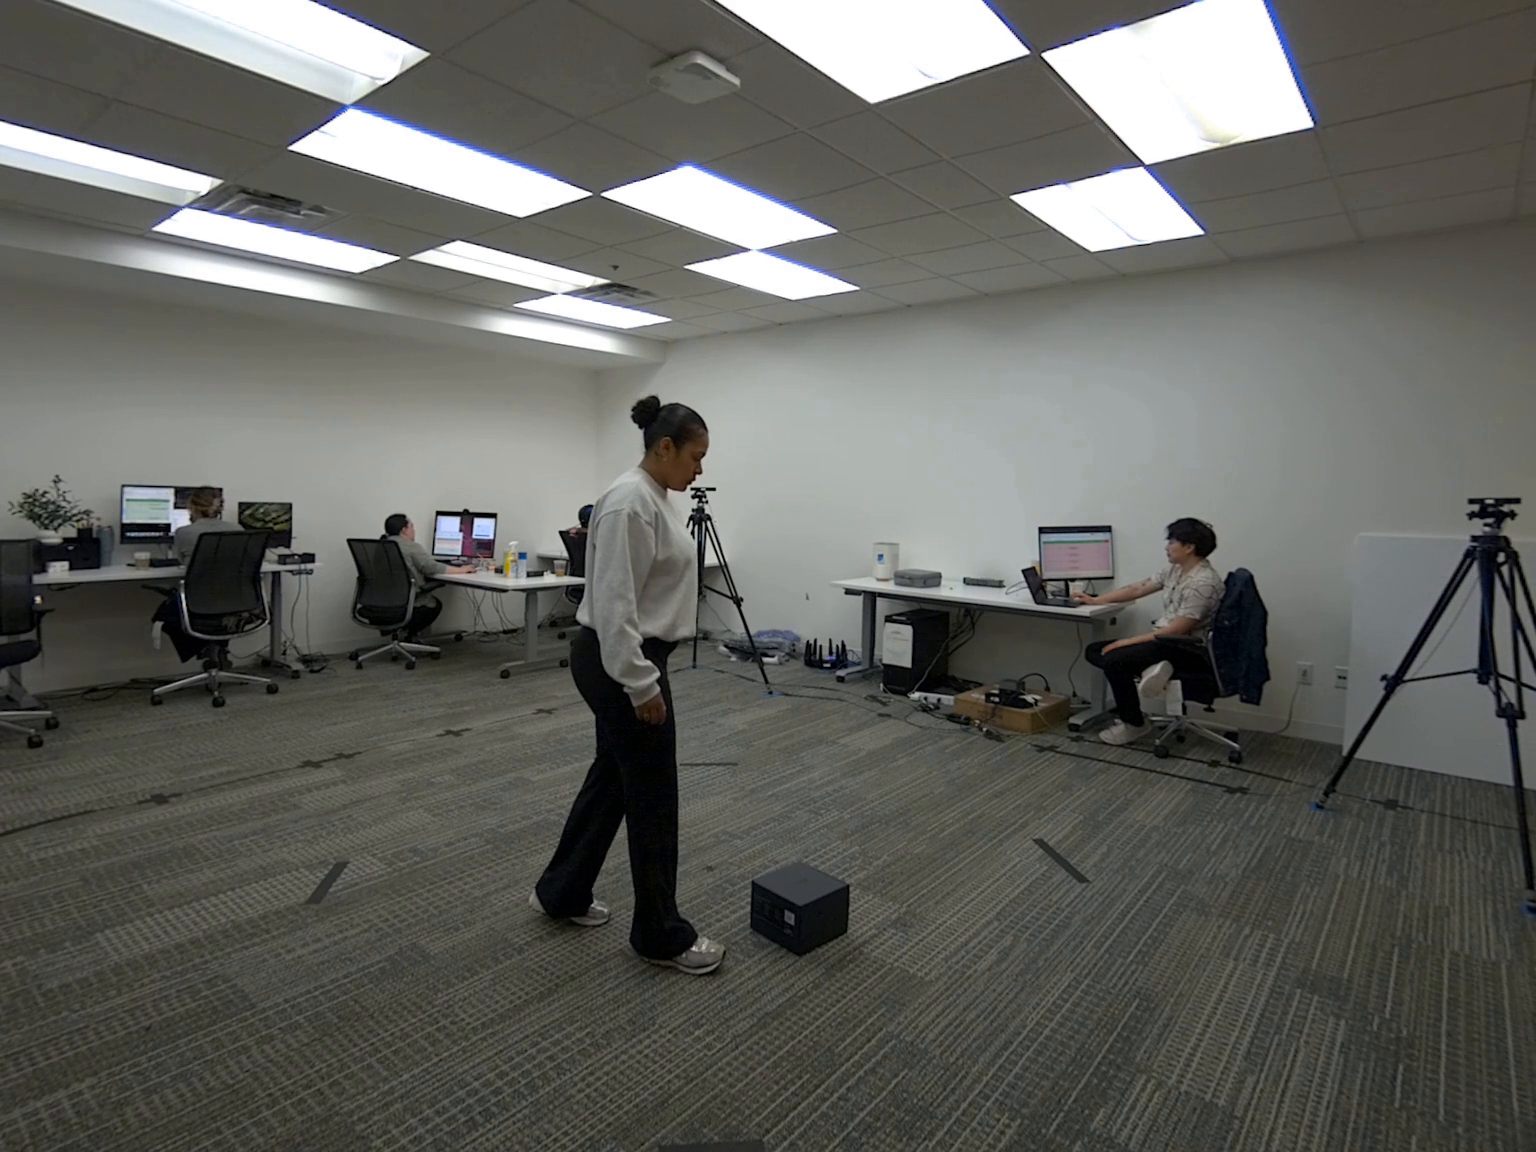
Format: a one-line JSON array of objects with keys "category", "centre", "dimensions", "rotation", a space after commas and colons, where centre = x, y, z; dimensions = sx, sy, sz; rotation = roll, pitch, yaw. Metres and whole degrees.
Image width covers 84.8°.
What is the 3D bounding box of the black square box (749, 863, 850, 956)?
[{"category": "black square box", "centre": [0.097, 1.033, 2.671], "dimensions": [0.221, 0.155, 0.224], "rotation": [-3, 6, -44]}]
